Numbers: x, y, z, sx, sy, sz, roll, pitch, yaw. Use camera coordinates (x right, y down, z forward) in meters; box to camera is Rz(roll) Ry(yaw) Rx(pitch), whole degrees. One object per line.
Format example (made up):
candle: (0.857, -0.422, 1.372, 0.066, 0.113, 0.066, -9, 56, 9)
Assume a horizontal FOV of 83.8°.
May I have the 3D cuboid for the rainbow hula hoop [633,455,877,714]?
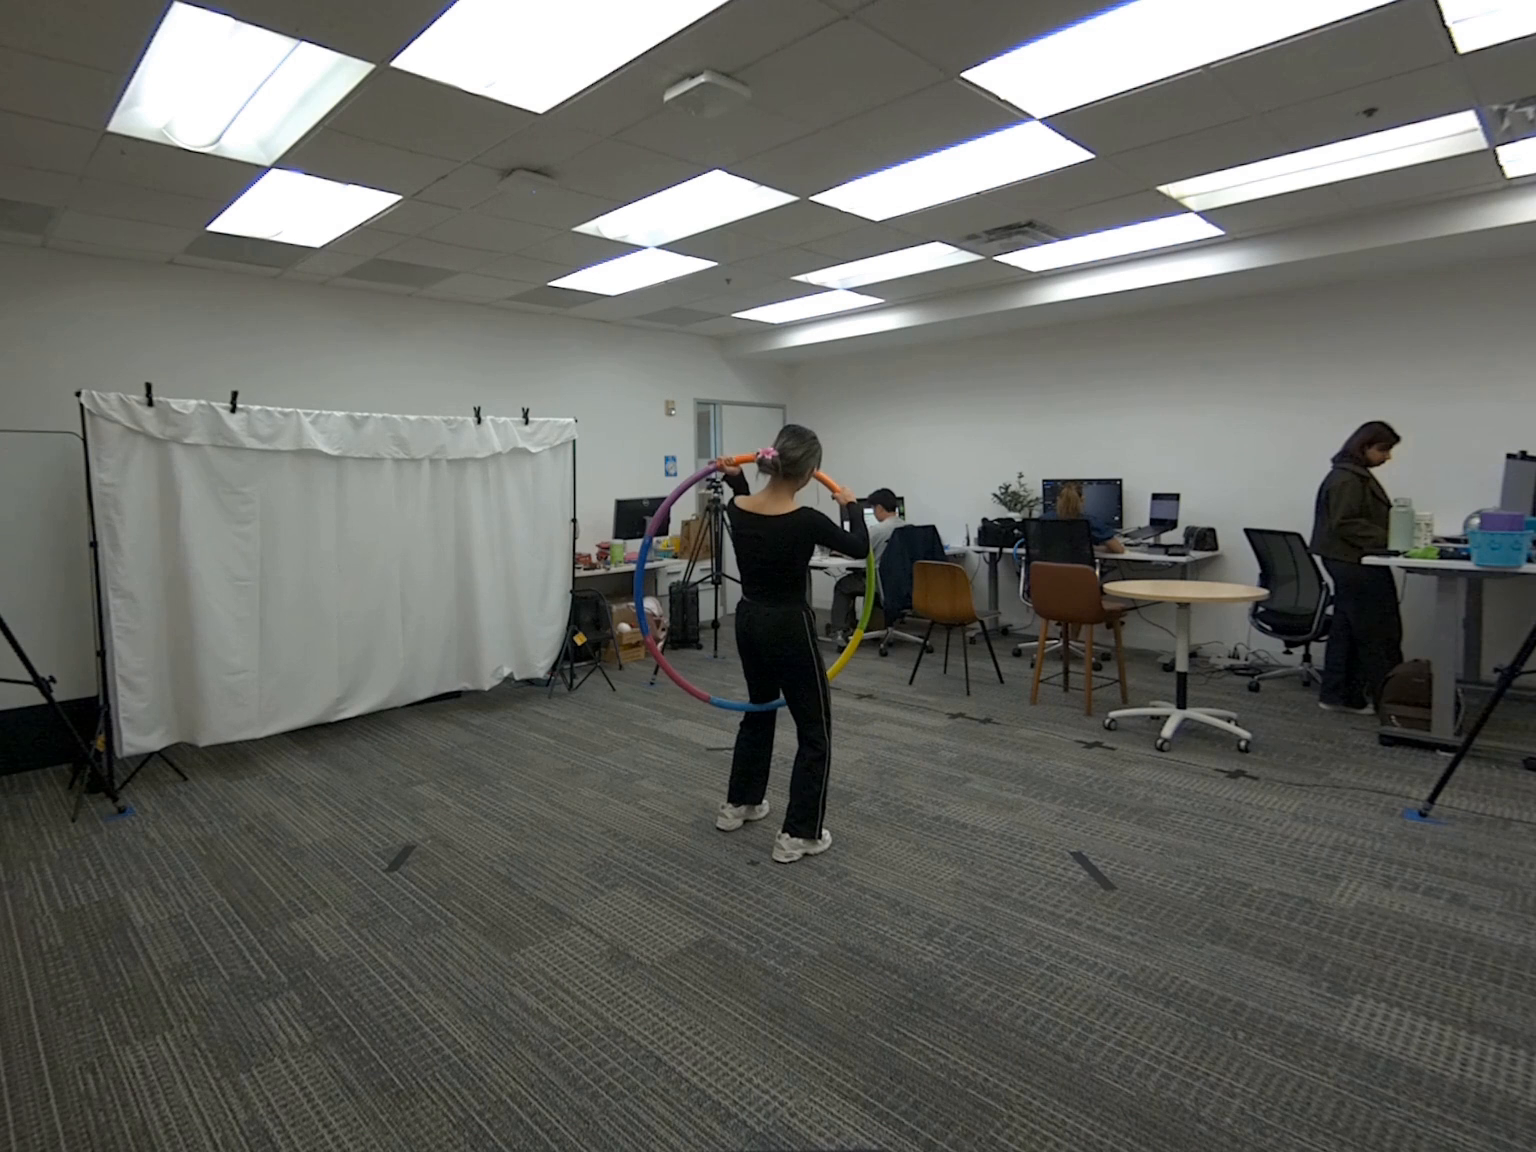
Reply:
rainbow hula hoop: (-0.029, 0.029, 3.295, 0.965, 0.974, 0.036, -2, 4, -15)
